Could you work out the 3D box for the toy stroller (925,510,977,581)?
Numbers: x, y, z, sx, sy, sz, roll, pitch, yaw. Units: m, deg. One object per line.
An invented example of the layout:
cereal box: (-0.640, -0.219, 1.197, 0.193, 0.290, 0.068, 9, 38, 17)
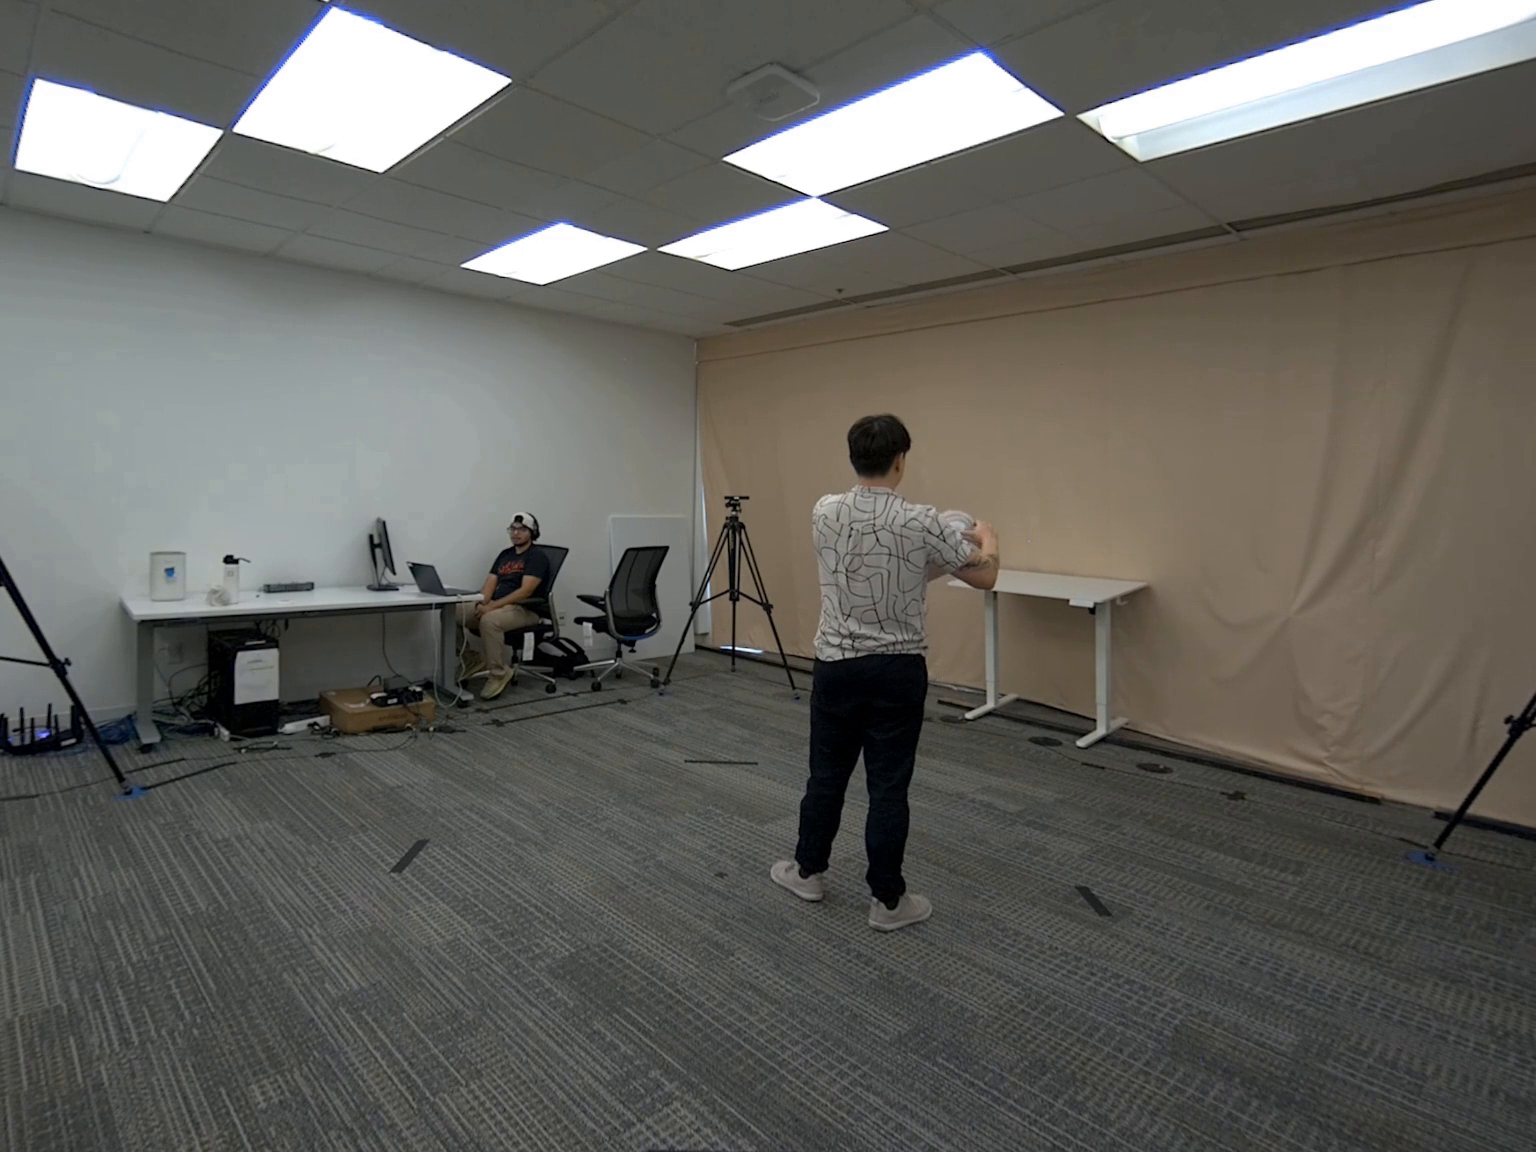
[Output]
toy stroller: (0.594, -0.065, 3.267, 0.274, 0.349, 0.537, 32, -55, -29)
